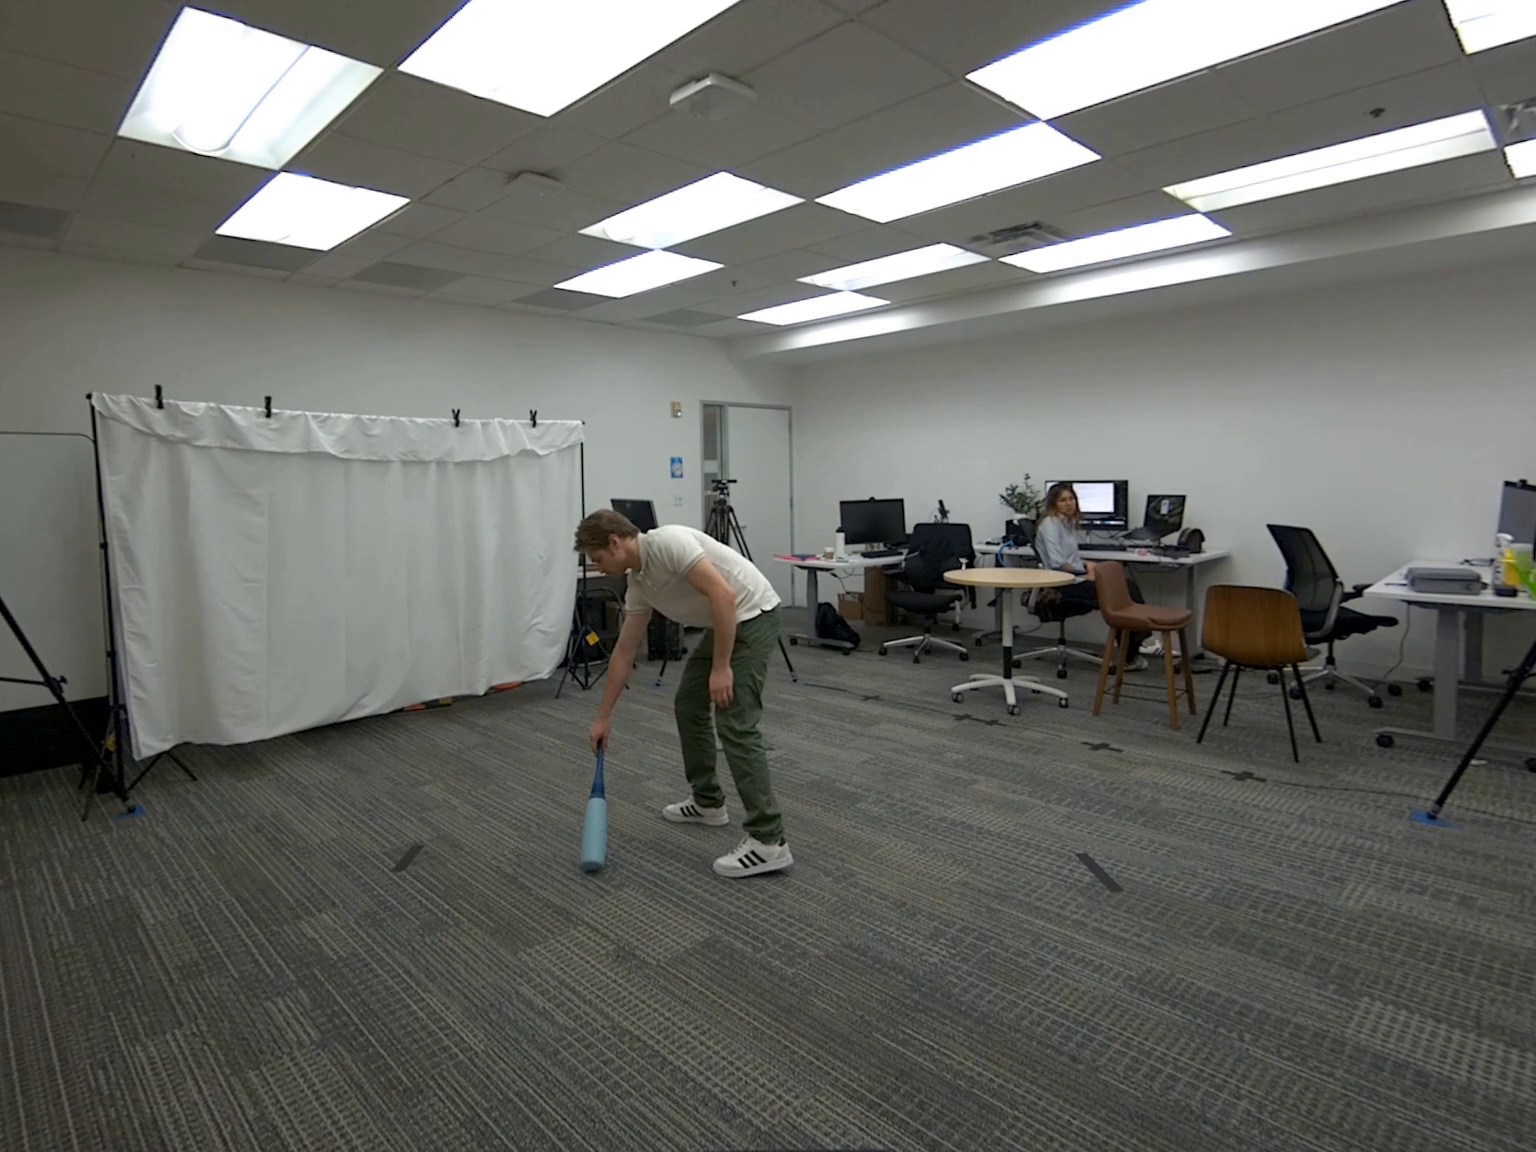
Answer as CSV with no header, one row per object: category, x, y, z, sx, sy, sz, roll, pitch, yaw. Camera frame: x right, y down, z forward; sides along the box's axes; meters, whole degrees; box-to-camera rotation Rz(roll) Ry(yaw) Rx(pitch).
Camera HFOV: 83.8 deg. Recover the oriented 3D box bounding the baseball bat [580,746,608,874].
baseball bat,-0.642,0.838,3.232,0.089,0.558,0.087,-2,-42,-2
